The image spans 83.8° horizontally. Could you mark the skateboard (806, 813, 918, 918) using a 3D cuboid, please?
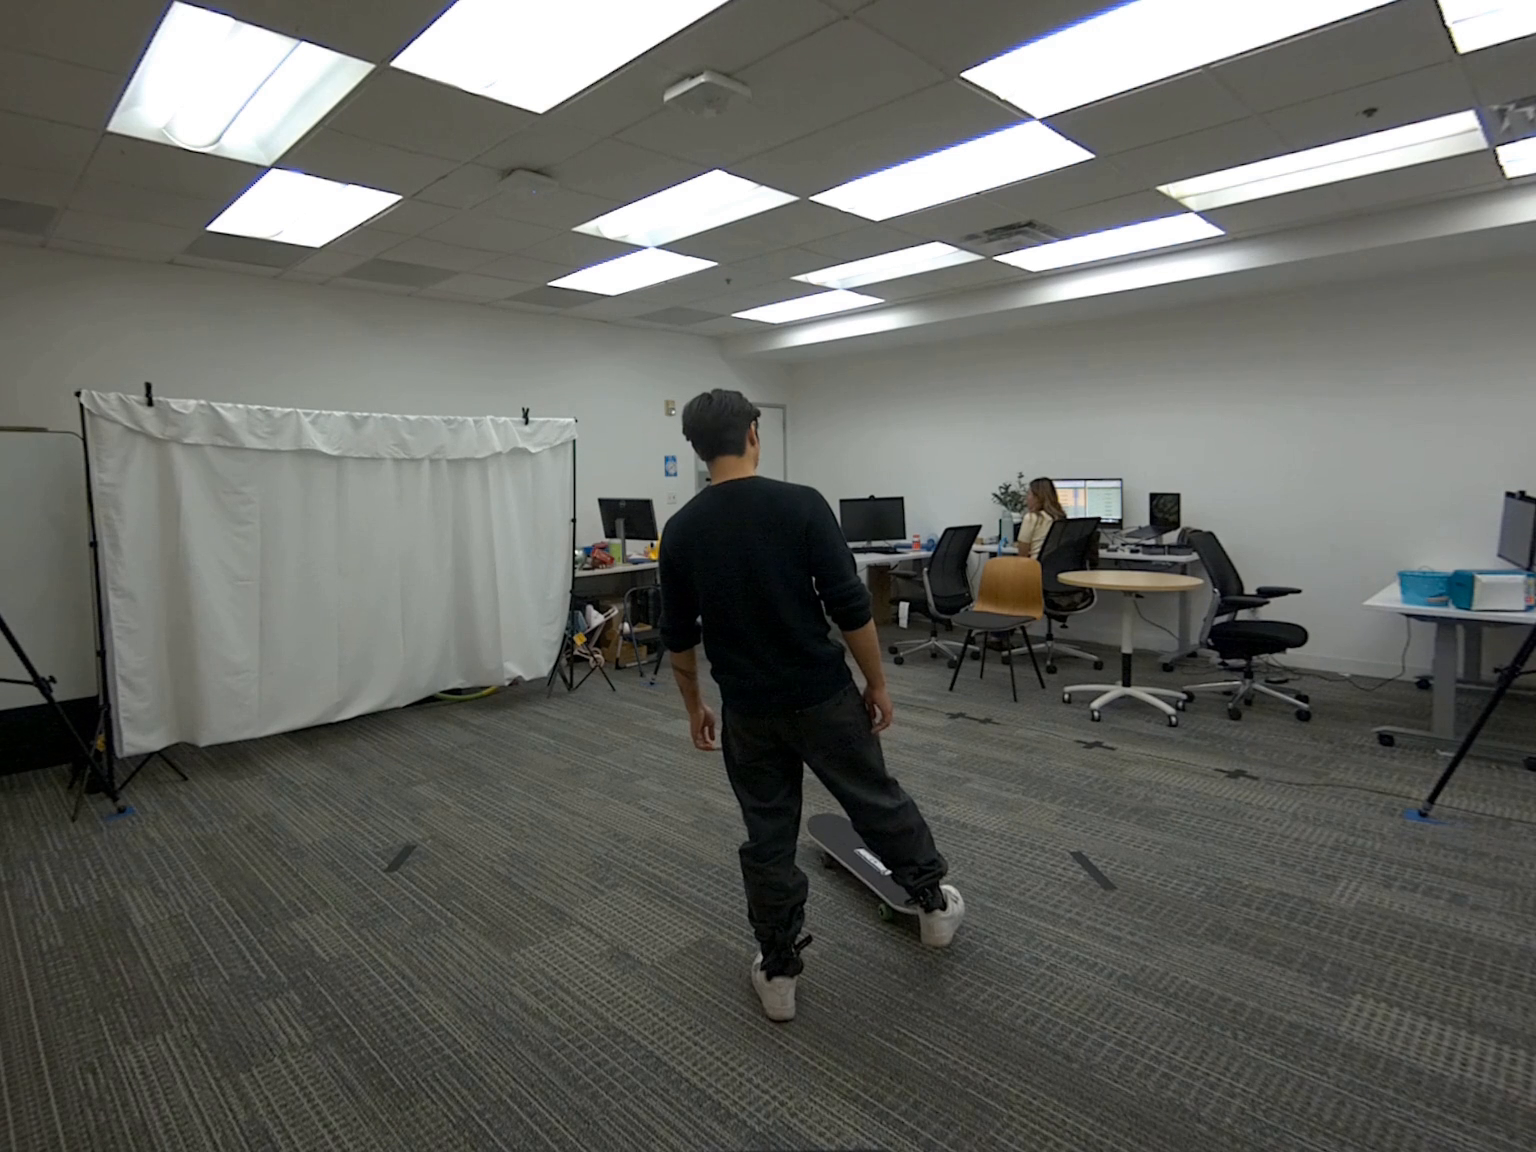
[{"bbox_3d":[0.363,1.002,2.906,0.190,0.110,0.804,-4,7,-22],"label":"skateboard"}]
